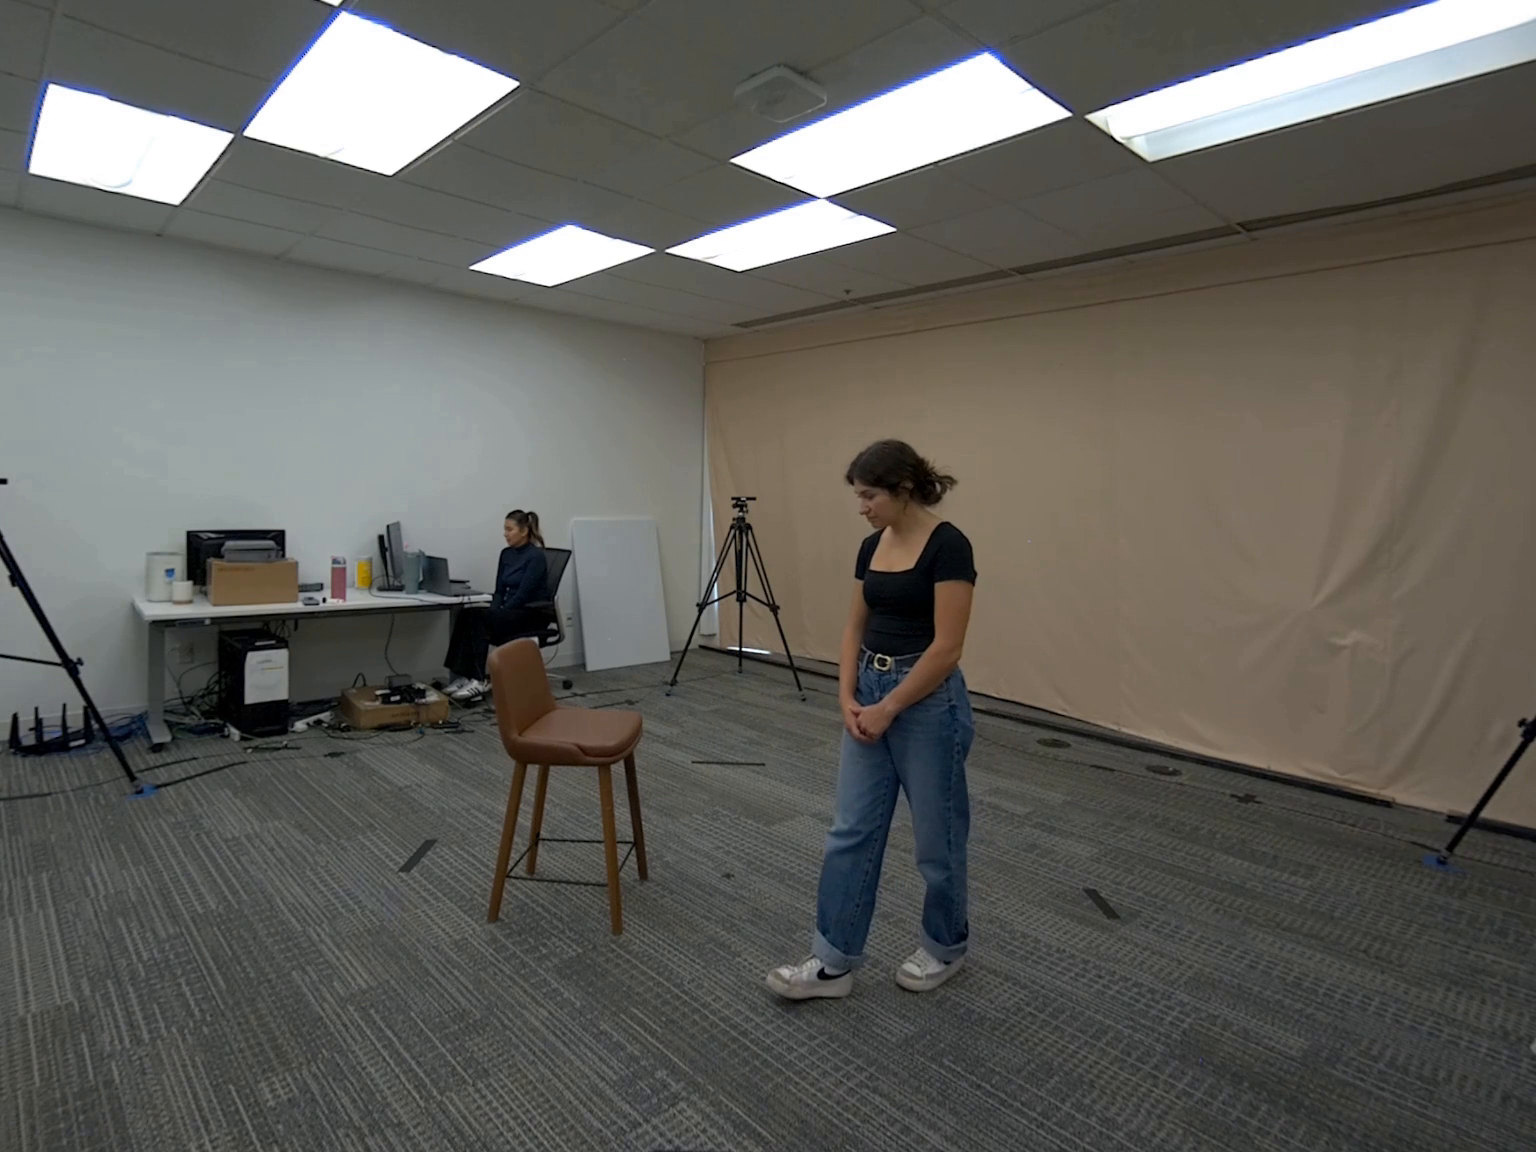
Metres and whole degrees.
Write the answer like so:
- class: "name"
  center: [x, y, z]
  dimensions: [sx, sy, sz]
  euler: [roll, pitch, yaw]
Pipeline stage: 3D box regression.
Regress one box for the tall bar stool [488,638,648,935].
- class: "tall bar stool"
  center: [-0.677, 0.683, 2.869]
  dimensions: [0.470, 0.888, 0.455]
  euler: [0, 3, 5]
